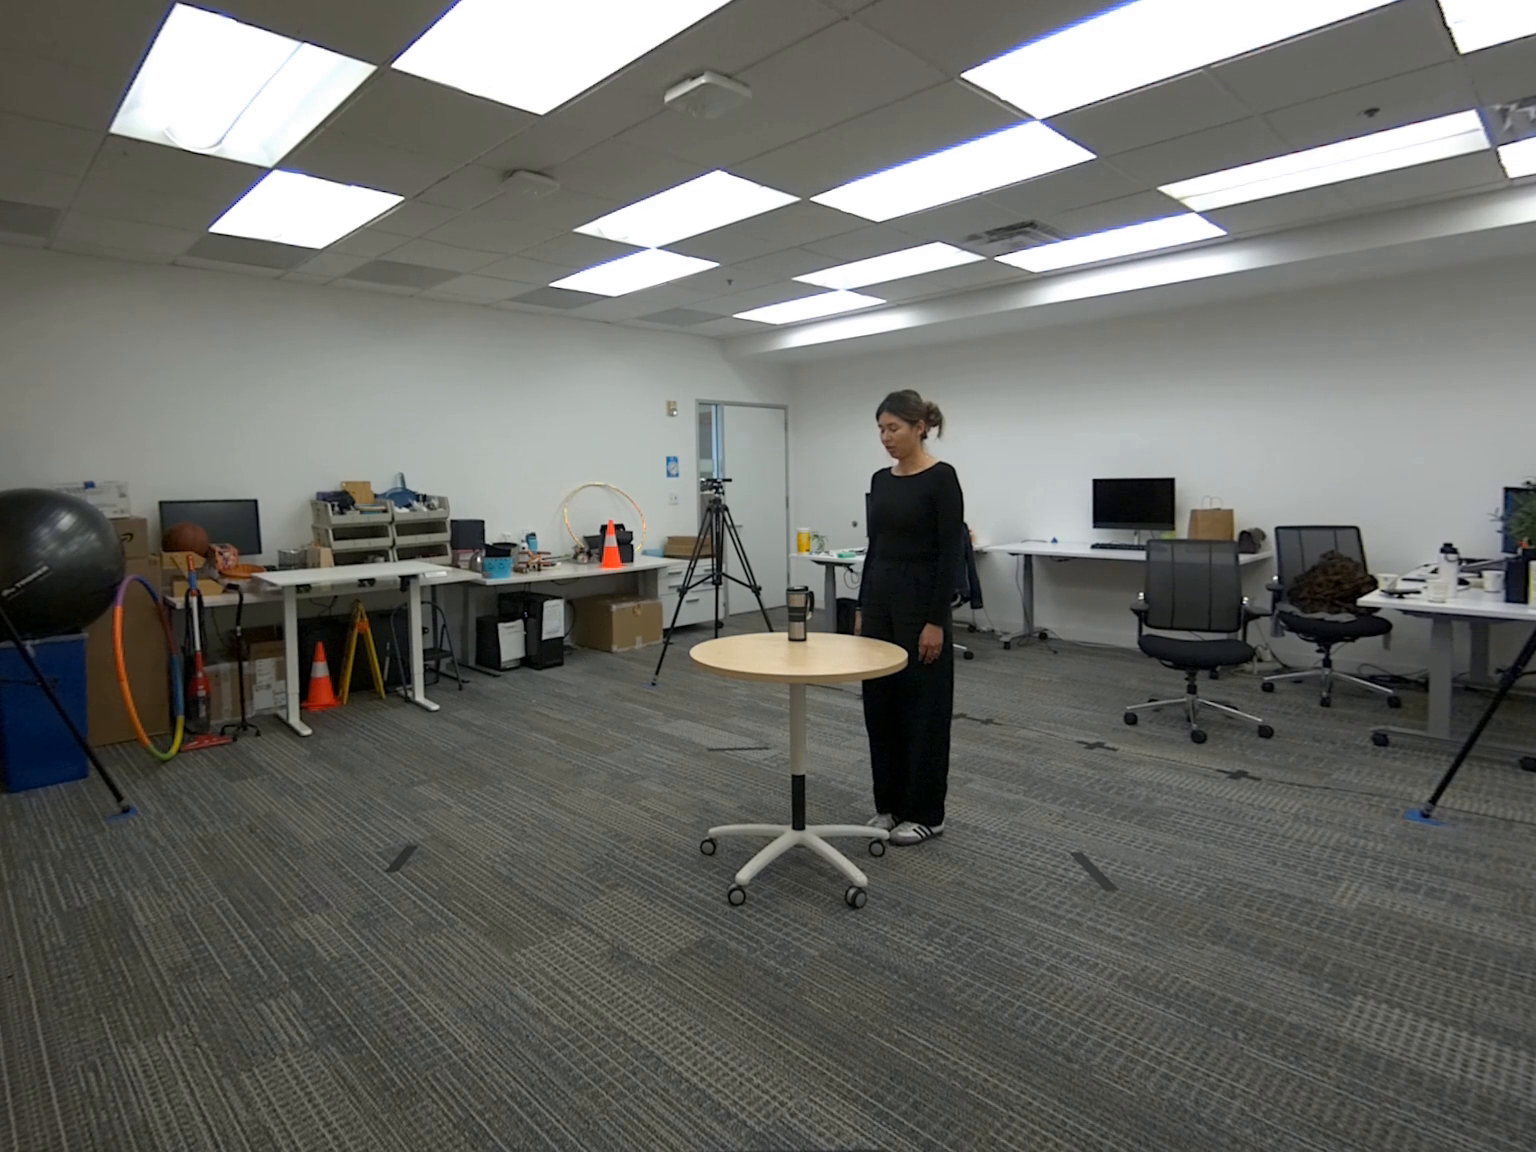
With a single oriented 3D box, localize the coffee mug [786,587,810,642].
[{"bbox_3d":[0.138,0.140,3.251,0.119,0.203,0.090,-5,2,-26],"label":"coffee mug"}]
